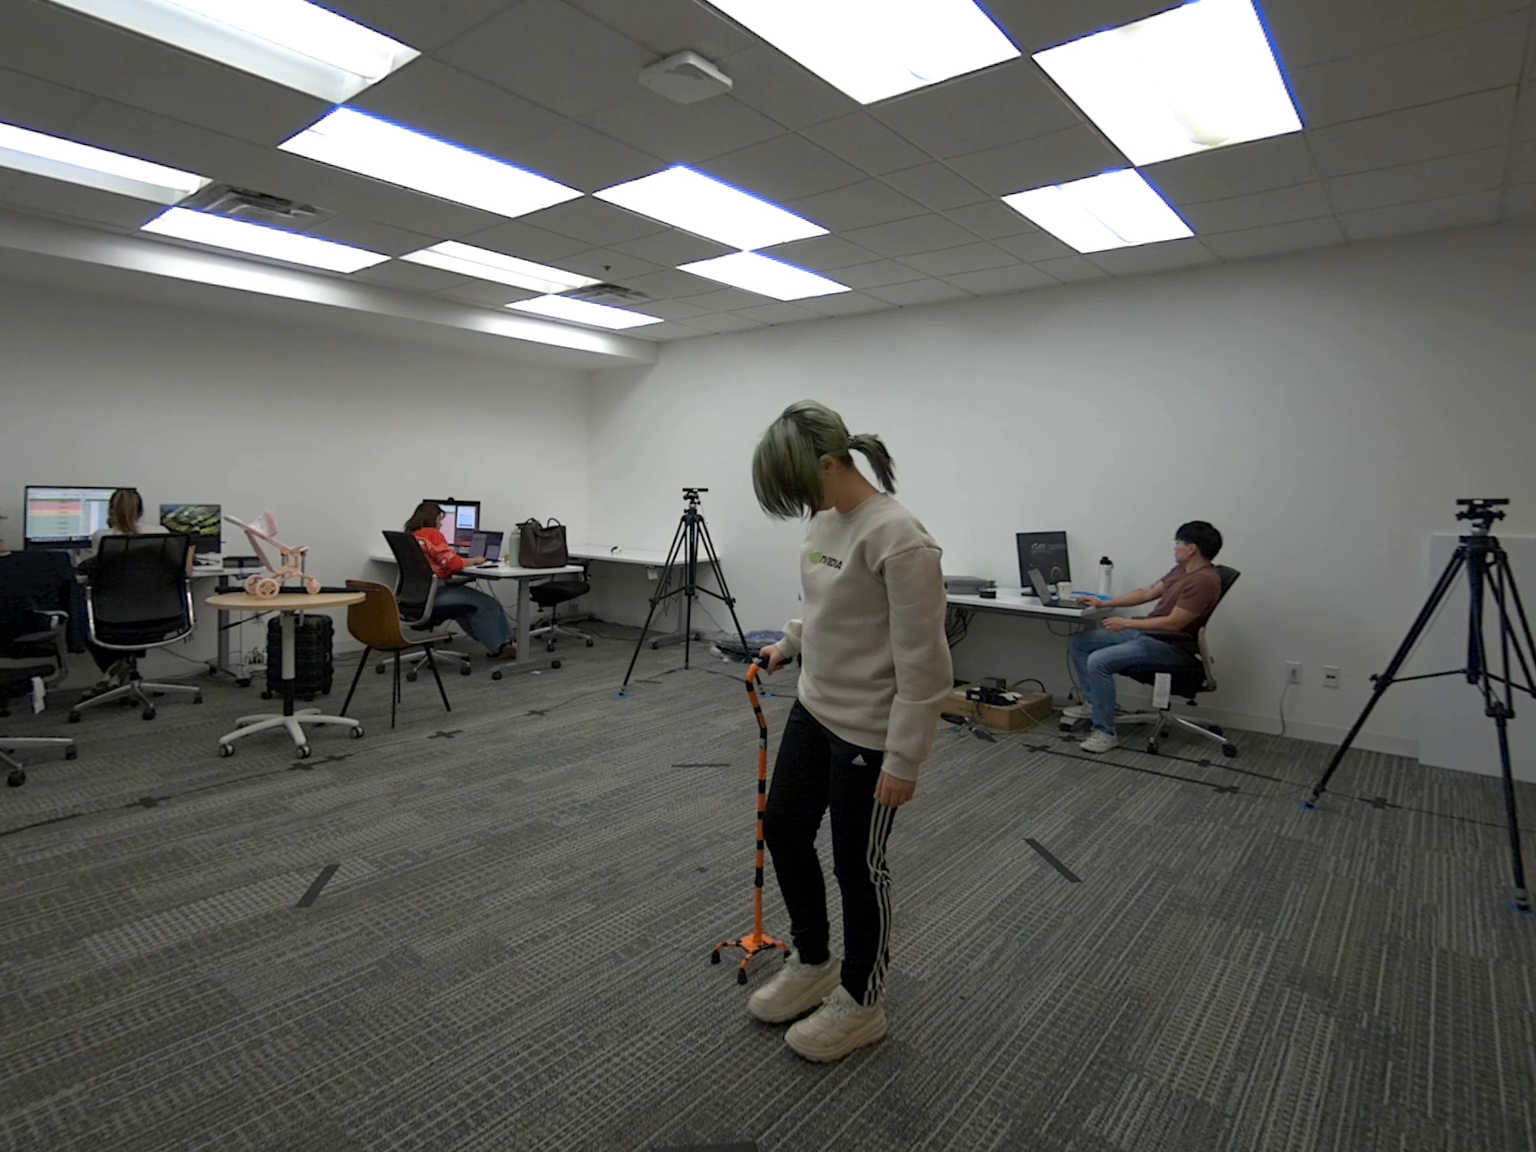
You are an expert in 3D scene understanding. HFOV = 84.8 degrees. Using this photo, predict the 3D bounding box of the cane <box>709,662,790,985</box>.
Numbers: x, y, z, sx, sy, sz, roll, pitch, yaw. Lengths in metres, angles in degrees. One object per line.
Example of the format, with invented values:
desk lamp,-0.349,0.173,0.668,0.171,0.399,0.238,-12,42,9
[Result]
cane,-0.045,0.677,2.473,0.200,0.904,0.157,-2,5,-39
